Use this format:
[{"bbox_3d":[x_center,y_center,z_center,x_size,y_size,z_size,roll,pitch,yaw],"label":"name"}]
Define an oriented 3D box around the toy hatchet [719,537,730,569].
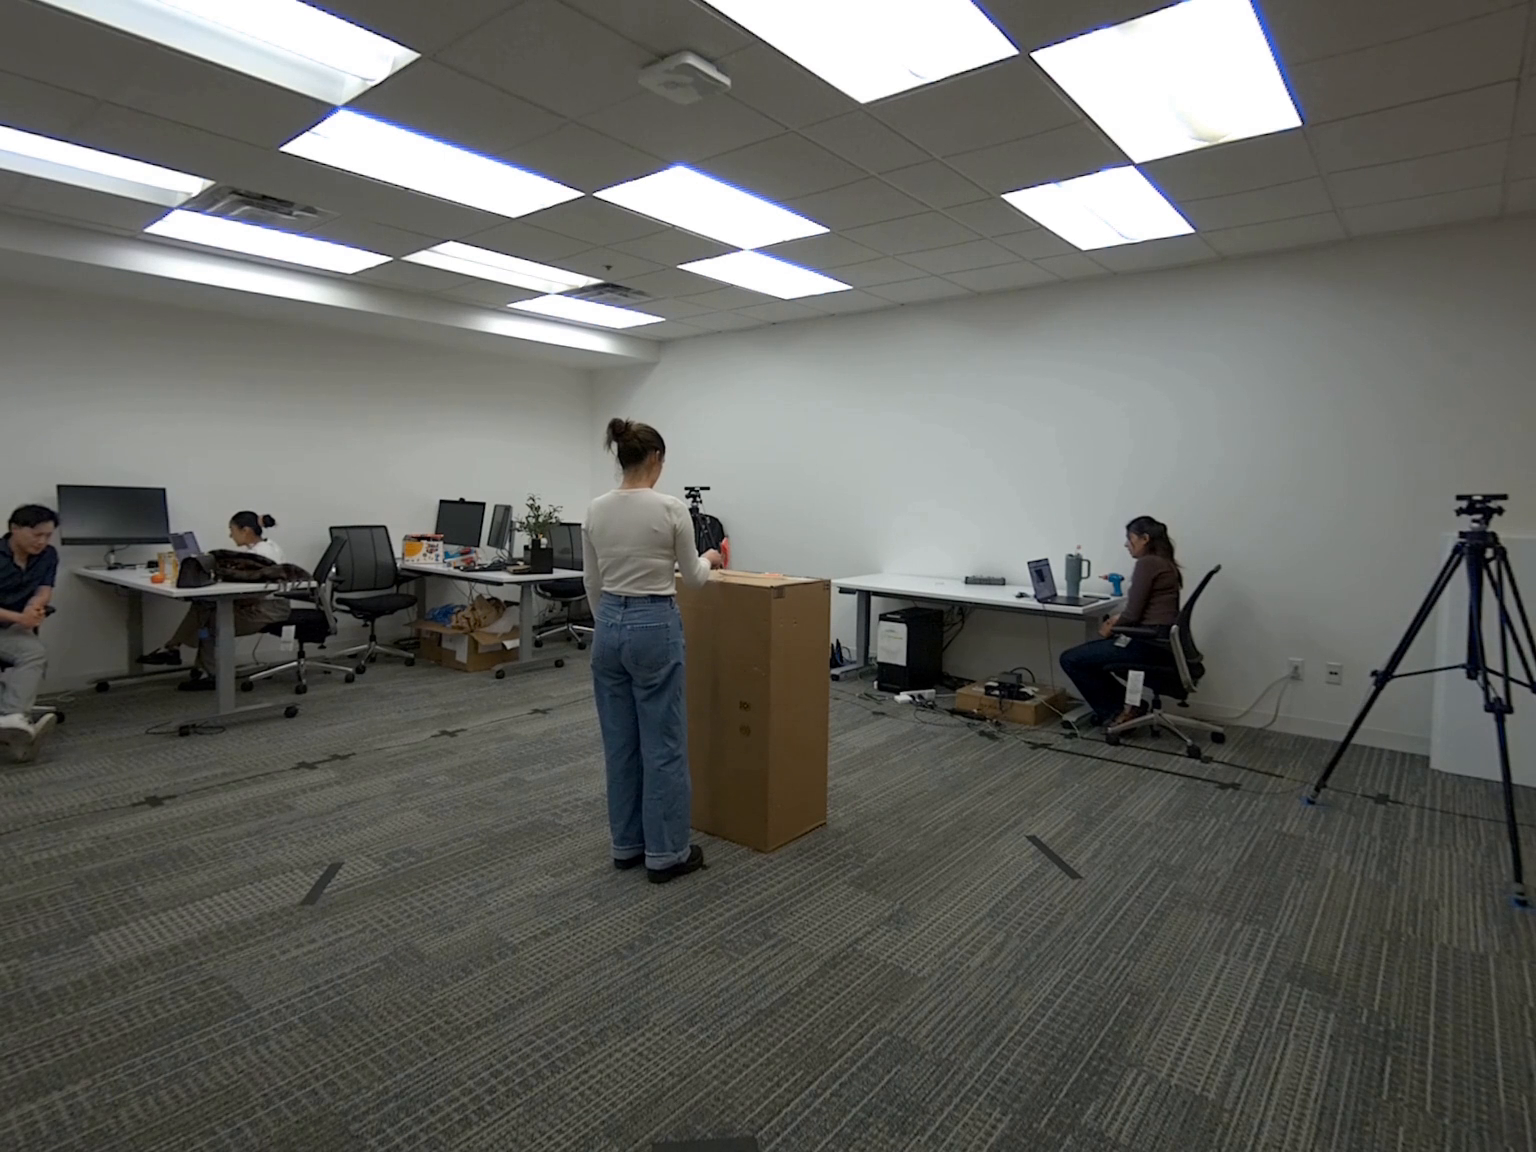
[{"bbox_3d":[-0.201,-0.095,3.487,0.030,0.131,0.267,6,0,7],"label":"toy hatchet"}]
